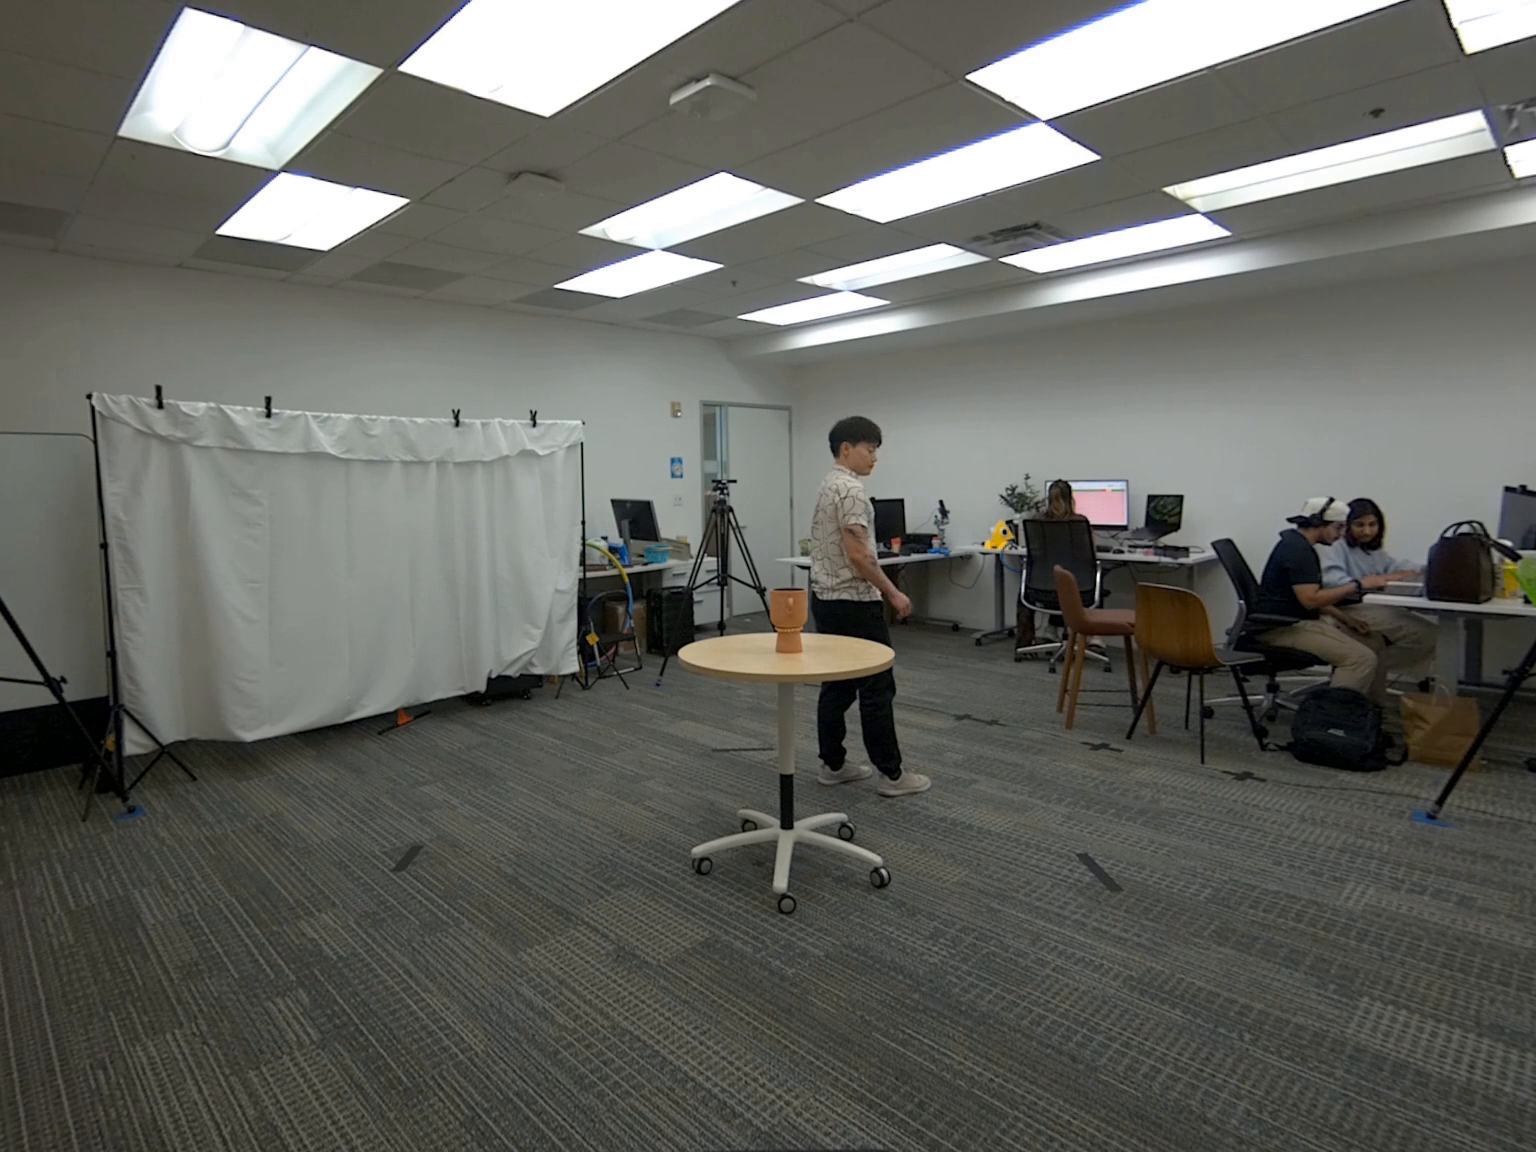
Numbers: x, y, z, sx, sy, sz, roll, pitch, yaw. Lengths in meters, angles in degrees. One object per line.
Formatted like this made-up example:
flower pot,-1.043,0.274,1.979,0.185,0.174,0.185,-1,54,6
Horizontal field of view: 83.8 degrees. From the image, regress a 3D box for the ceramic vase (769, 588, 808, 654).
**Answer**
ceramic vase,0.077,0.159,3.045,0.138,0.219,0.155,2,5,37
